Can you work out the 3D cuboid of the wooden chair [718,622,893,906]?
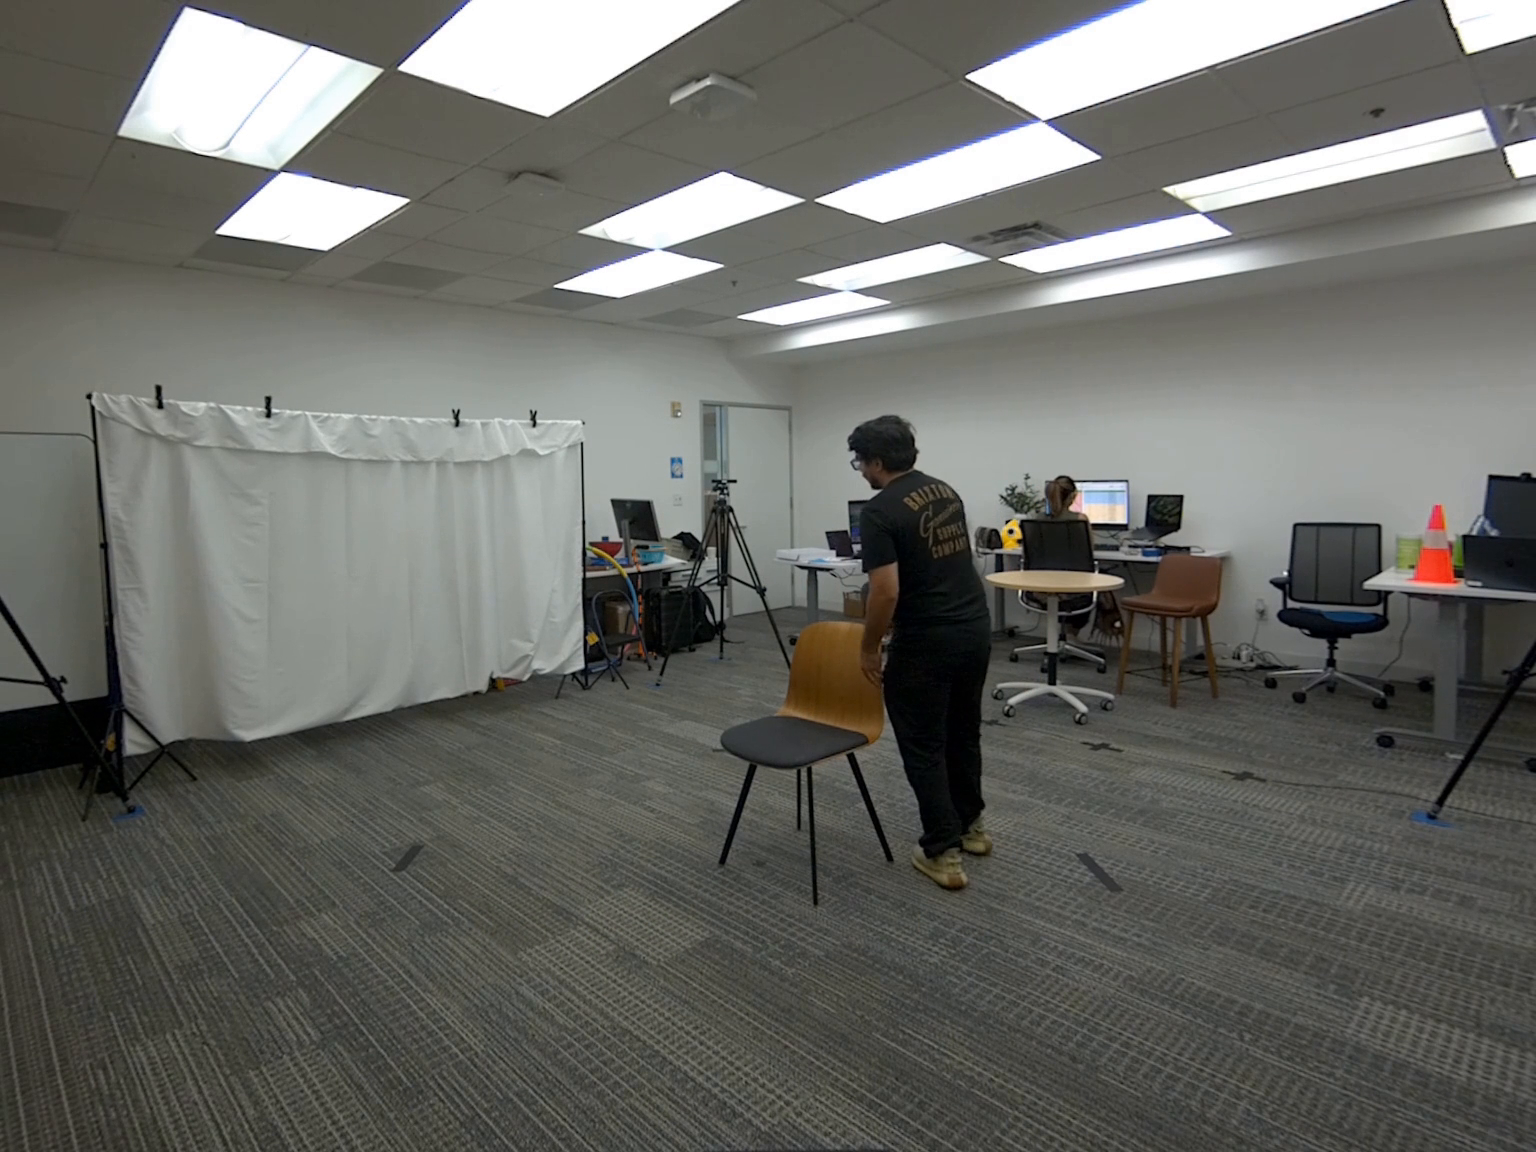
[{"bbox_3d":[0.125,0.623,3.070,0.493,0.877,0.508,3,2,43],"label":"wooden chair"}]
